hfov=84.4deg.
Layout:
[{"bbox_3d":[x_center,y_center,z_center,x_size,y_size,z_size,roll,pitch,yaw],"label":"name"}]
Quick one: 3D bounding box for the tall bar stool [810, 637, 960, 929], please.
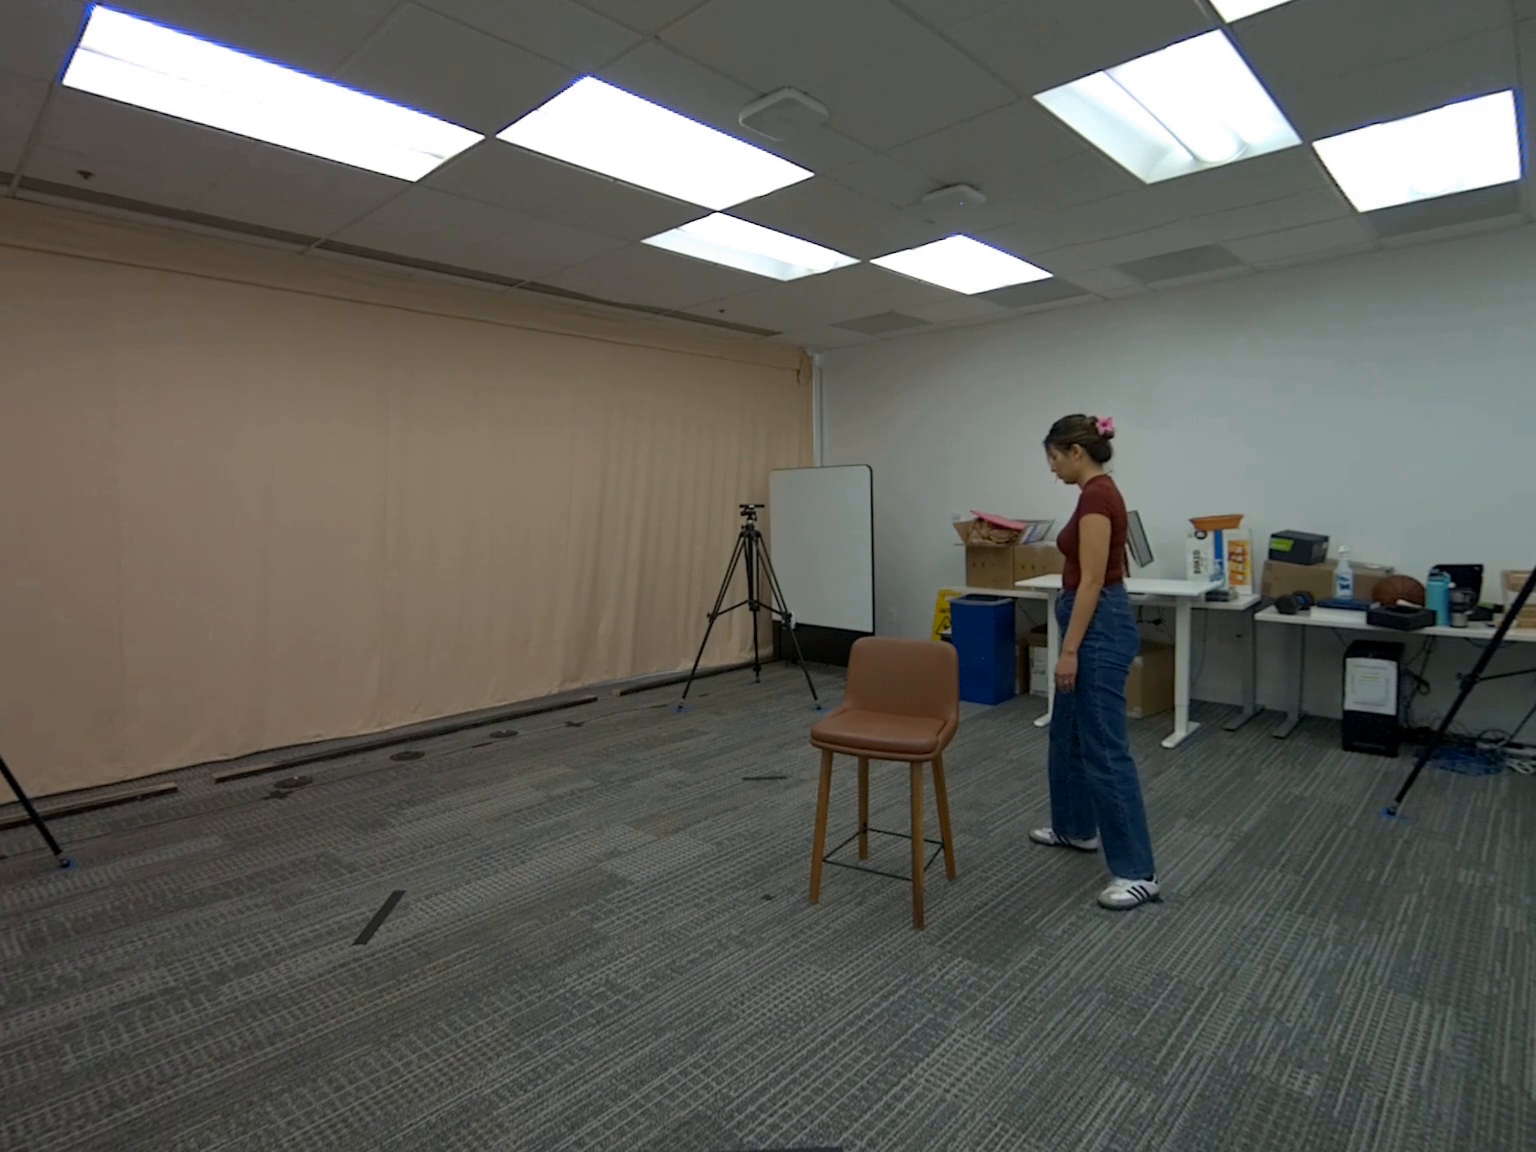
[{"bbox_3d":[0.431,0.697,3.004,0.470,0.889,0.455,2,2,30],"label":"tall bar stool"}]
